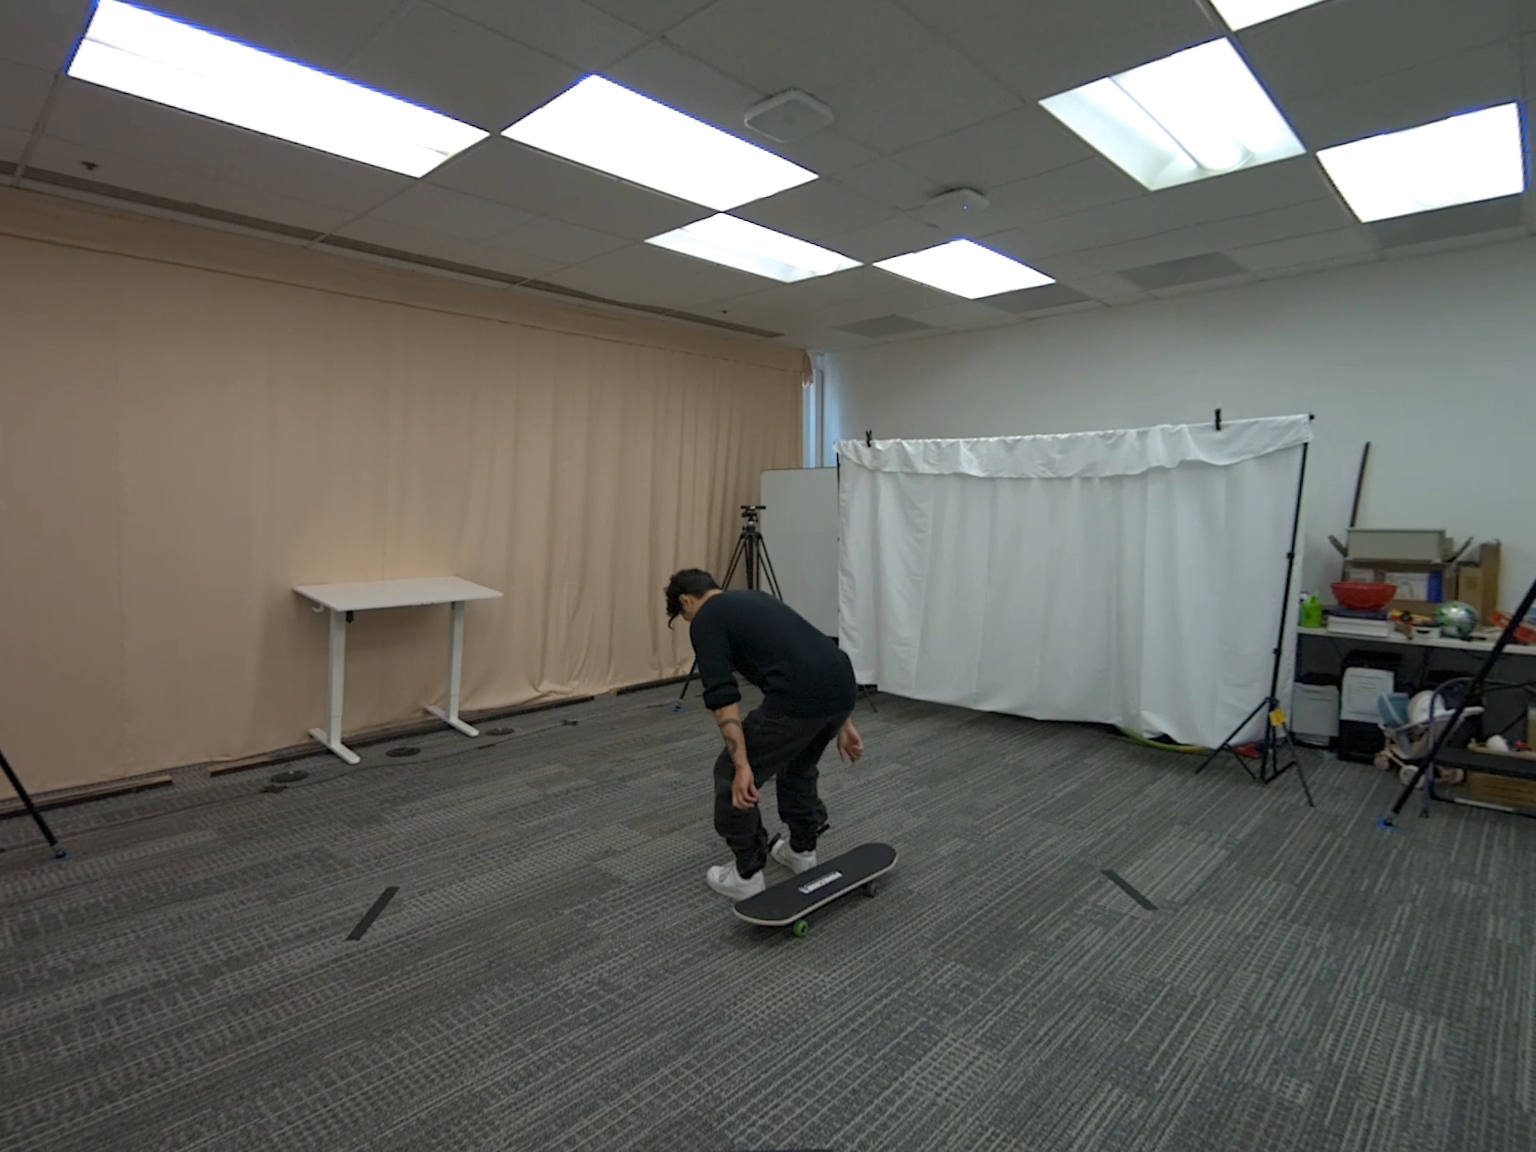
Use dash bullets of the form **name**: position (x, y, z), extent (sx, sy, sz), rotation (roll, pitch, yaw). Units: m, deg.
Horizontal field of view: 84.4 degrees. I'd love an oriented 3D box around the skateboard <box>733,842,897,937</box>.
- **skateboard**: position (0.186, 1.093, 2.915), extent (0.200, 0.110, 0.761), rotation (4, 6, 44)
